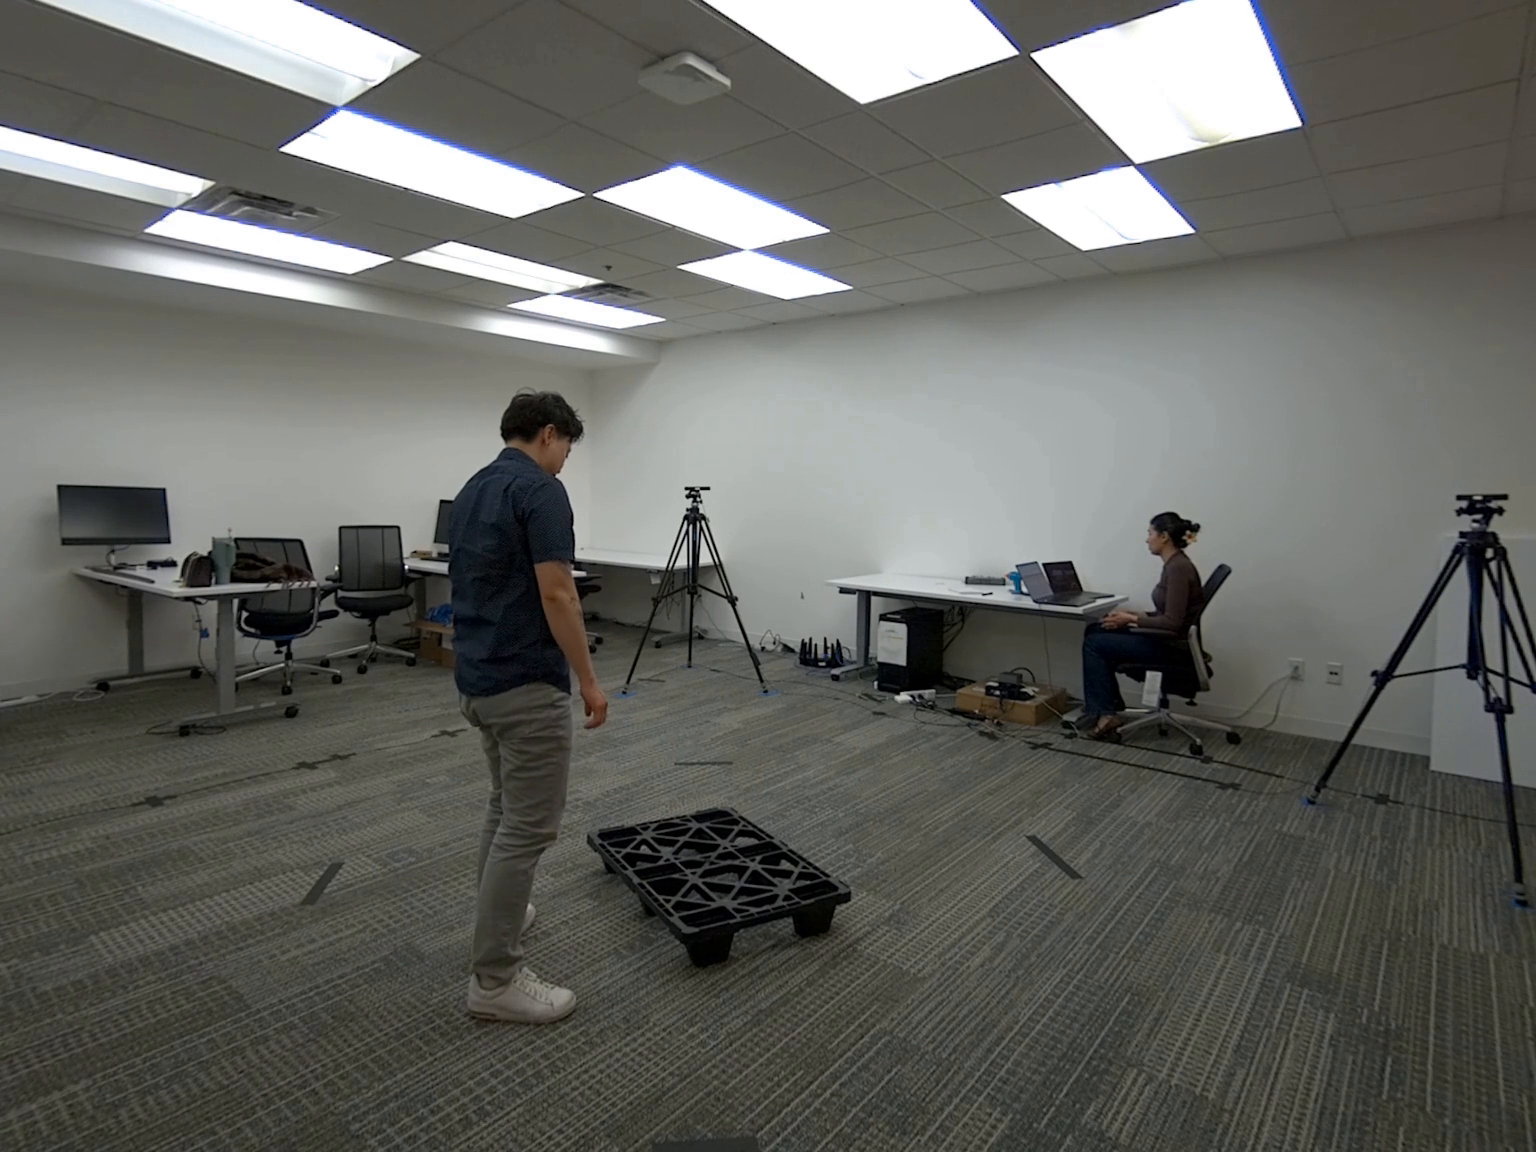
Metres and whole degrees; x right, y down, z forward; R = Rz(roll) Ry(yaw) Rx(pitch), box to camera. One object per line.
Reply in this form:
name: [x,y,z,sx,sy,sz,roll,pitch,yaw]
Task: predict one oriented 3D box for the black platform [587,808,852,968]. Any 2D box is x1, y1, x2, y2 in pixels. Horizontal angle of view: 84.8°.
black platform: [-0.207,1.021,2.874,0.589,0.143,0.831,-3,7,-31]
